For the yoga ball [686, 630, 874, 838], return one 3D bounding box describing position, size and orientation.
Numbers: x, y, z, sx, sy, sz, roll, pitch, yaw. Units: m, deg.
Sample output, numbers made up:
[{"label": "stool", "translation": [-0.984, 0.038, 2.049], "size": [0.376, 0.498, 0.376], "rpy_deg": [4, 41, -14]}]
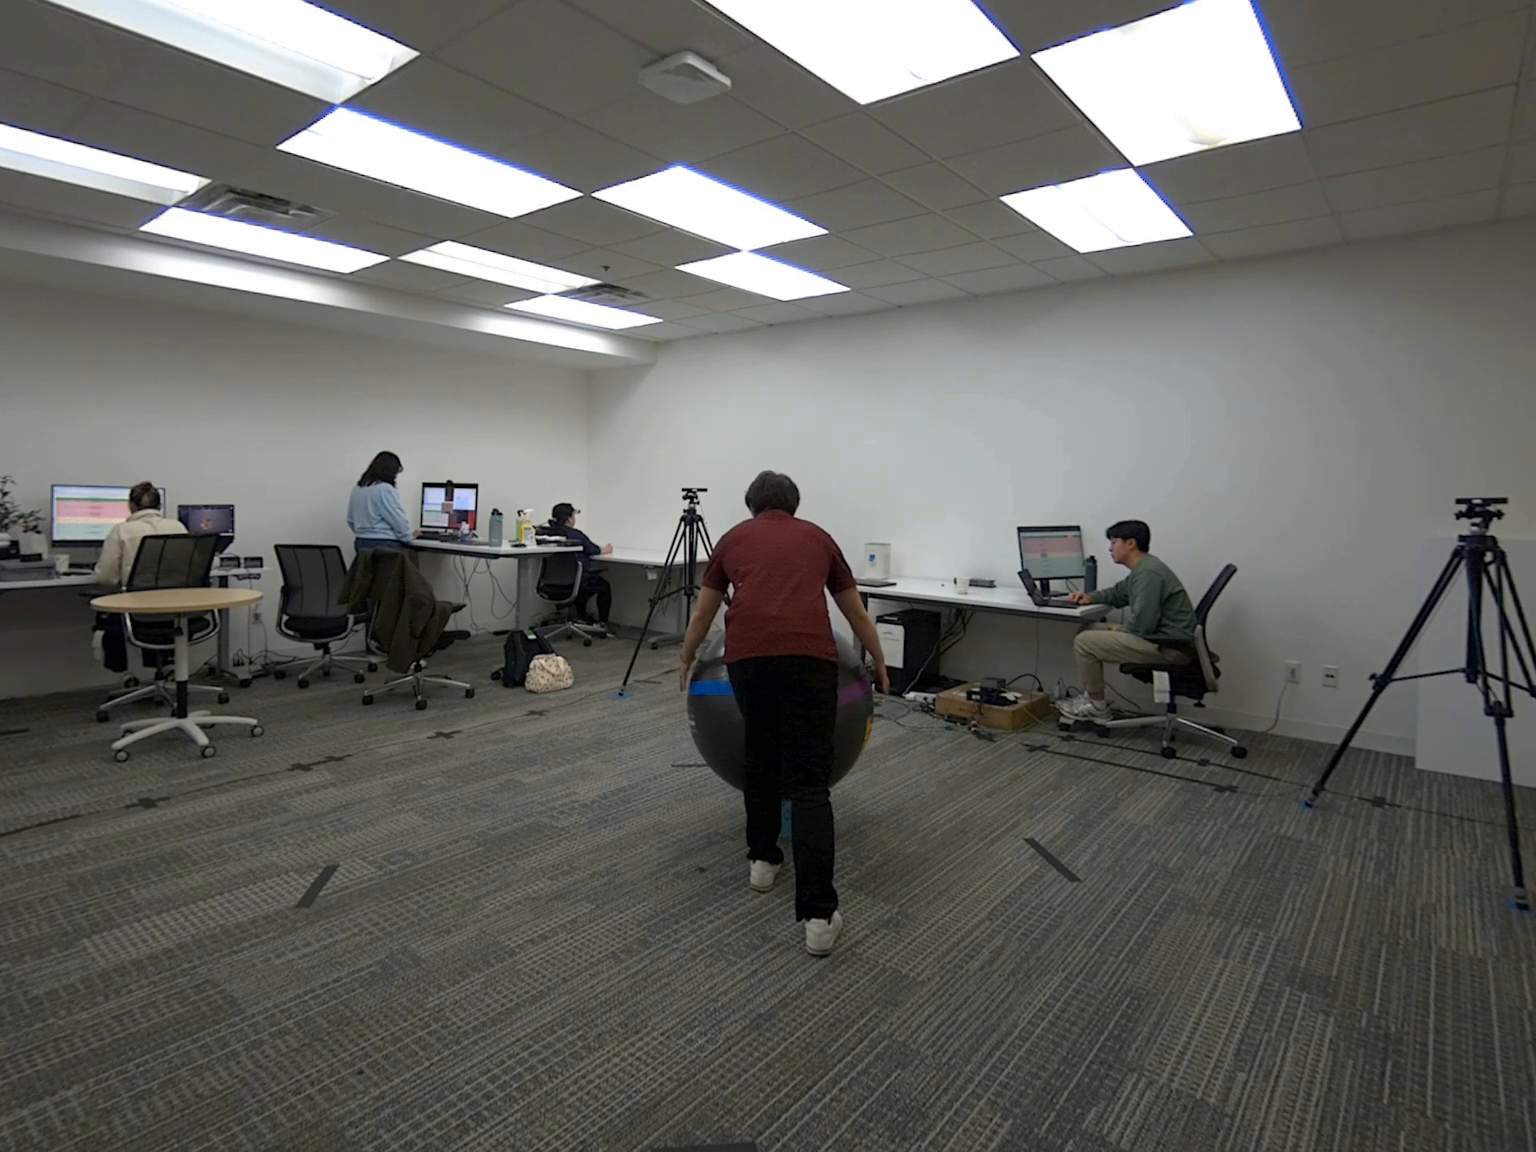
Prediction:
[{"label": "yoga ball", "translation": [0.039, 0.524, 3.491], "size": [0.757, 0.756, 0.762], "rpy_deg": [1, 4, -2]}]
